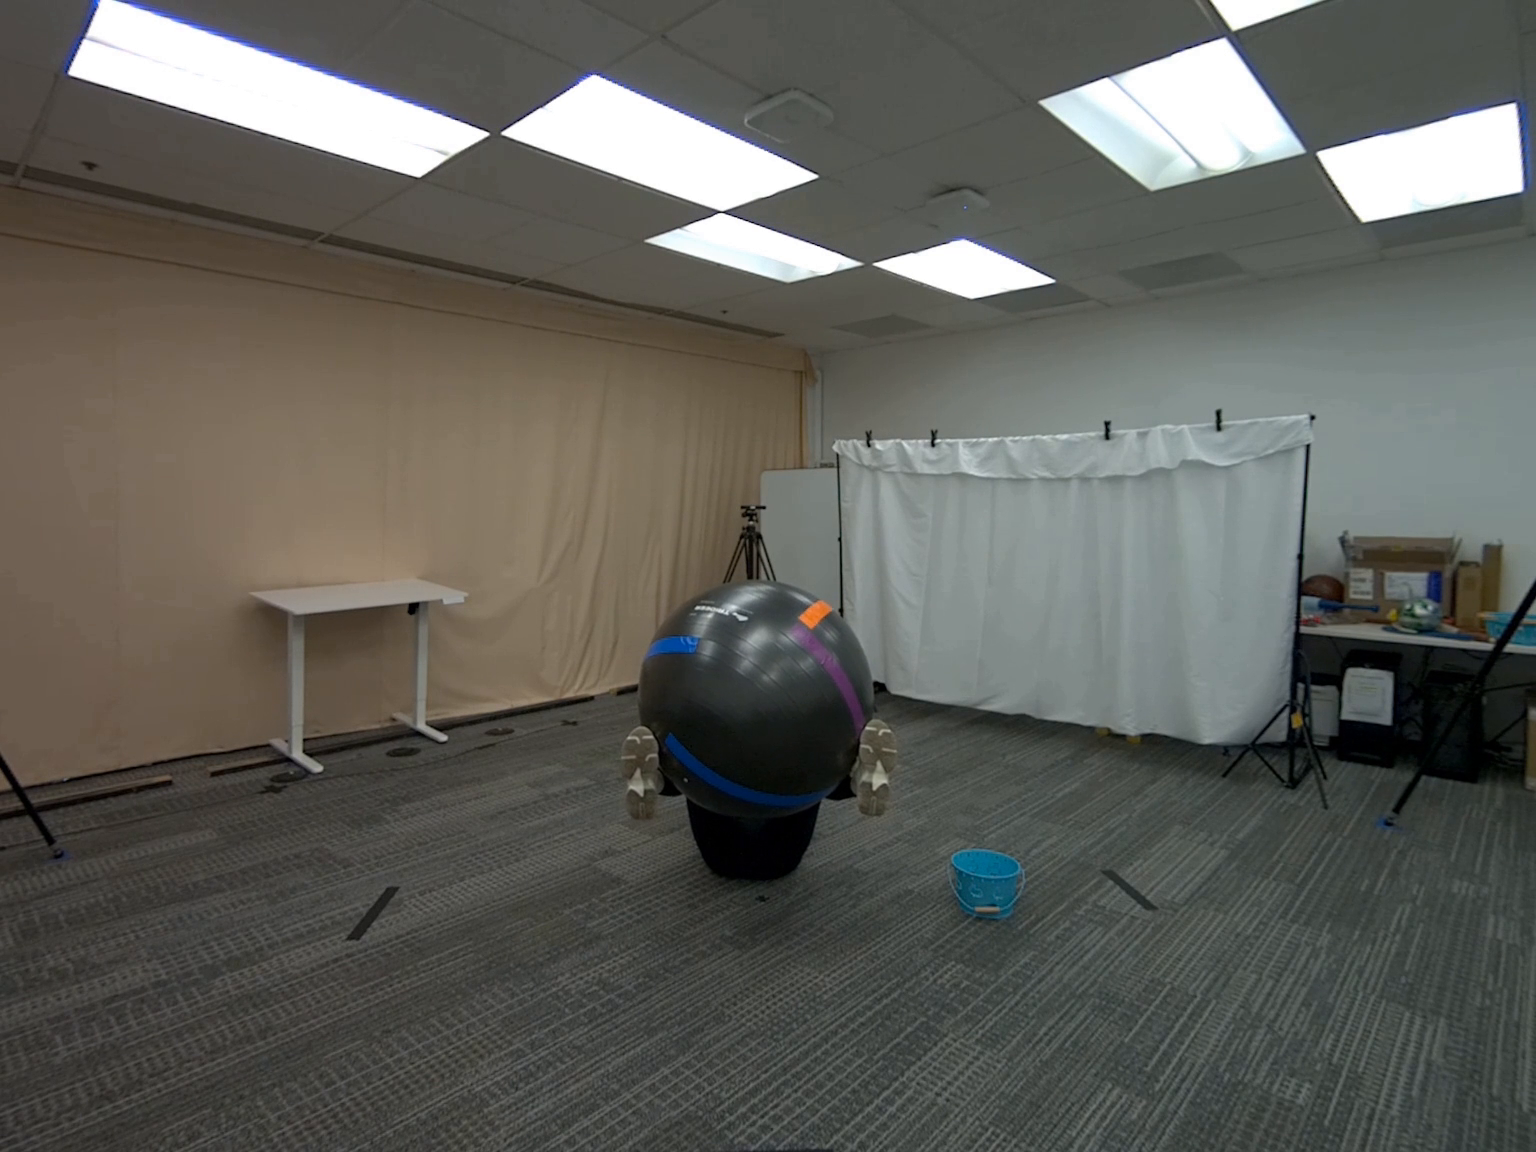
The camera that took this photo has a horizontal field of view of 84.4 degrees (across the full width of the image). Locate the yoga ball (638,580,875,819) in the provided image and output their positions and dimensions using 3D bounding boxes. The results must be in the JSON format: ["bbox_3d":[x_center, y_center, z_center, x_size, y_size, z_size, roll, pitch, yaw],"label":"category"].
[{"bbox_3d":[-0.045,0.389,2.717,0.757,0.756,0.760,0,4,-2],"label":"yoga ball"}]
